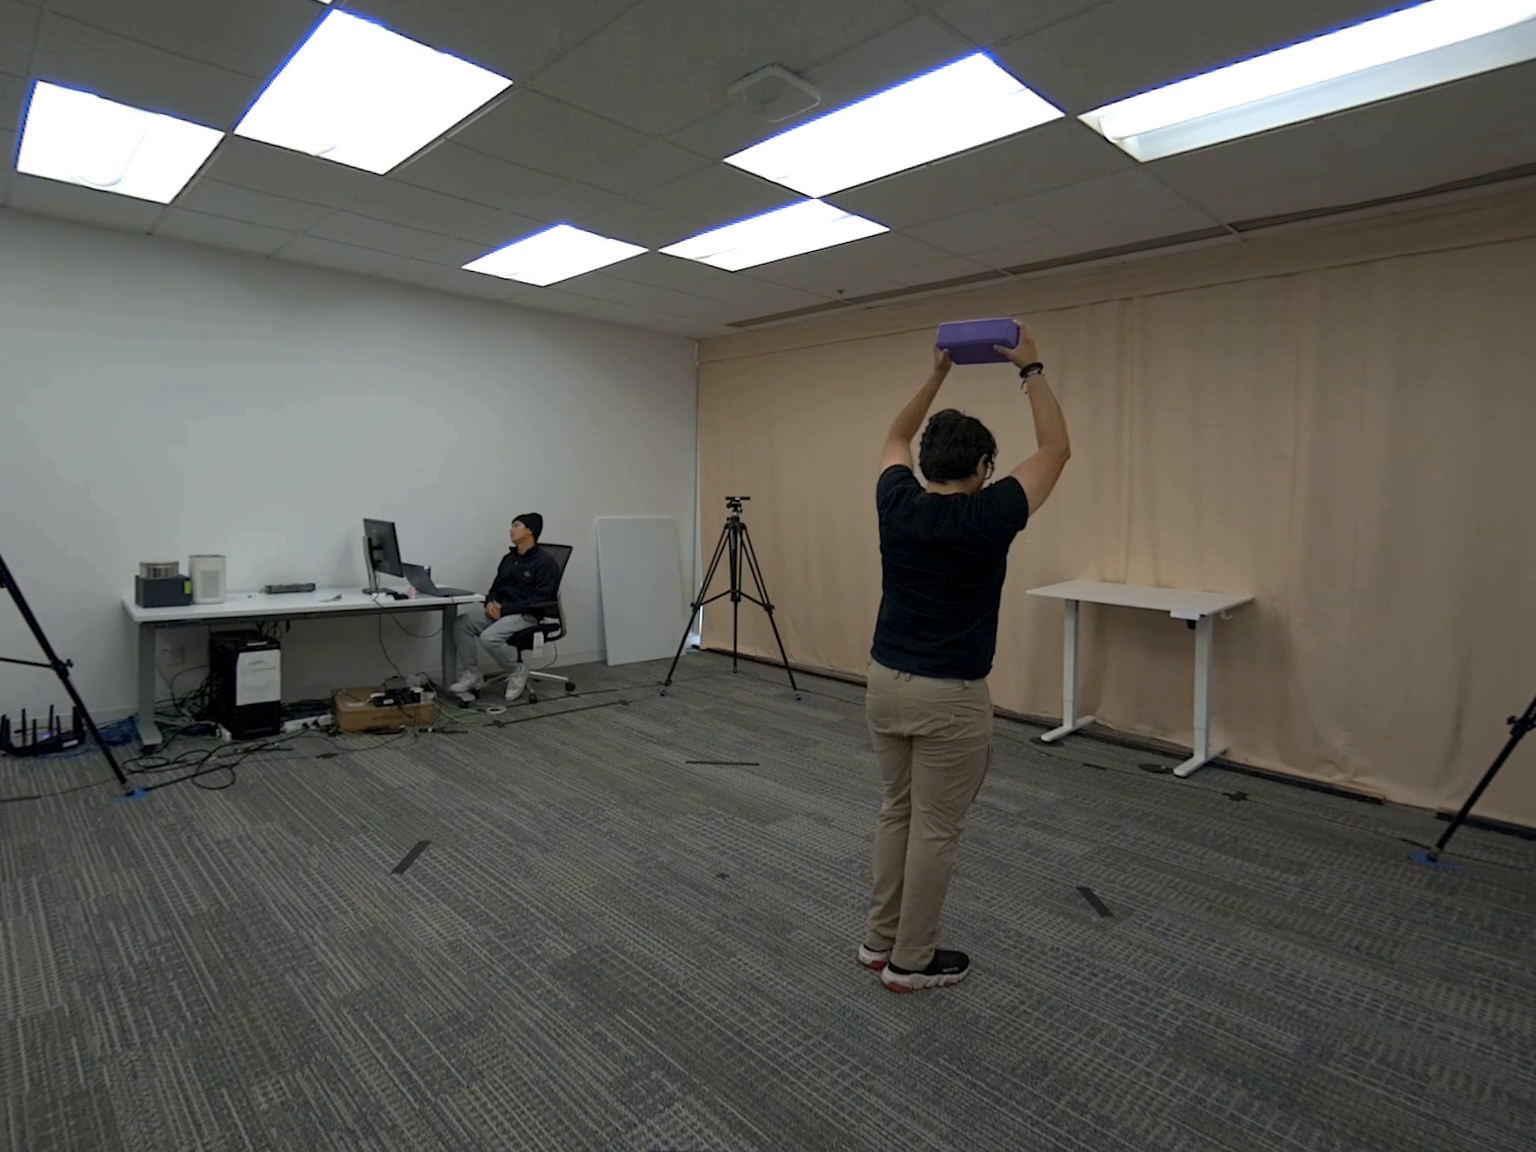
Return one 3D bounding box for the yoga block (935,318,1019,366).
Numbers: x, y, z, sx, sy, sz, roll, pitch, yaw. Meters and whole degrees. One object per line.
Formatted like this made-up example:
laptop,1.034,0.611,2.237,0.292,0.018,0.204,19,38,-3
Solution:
yoga block,0.622,-0.690,2.472,0.235,0.077,0.144,10,-7,41
